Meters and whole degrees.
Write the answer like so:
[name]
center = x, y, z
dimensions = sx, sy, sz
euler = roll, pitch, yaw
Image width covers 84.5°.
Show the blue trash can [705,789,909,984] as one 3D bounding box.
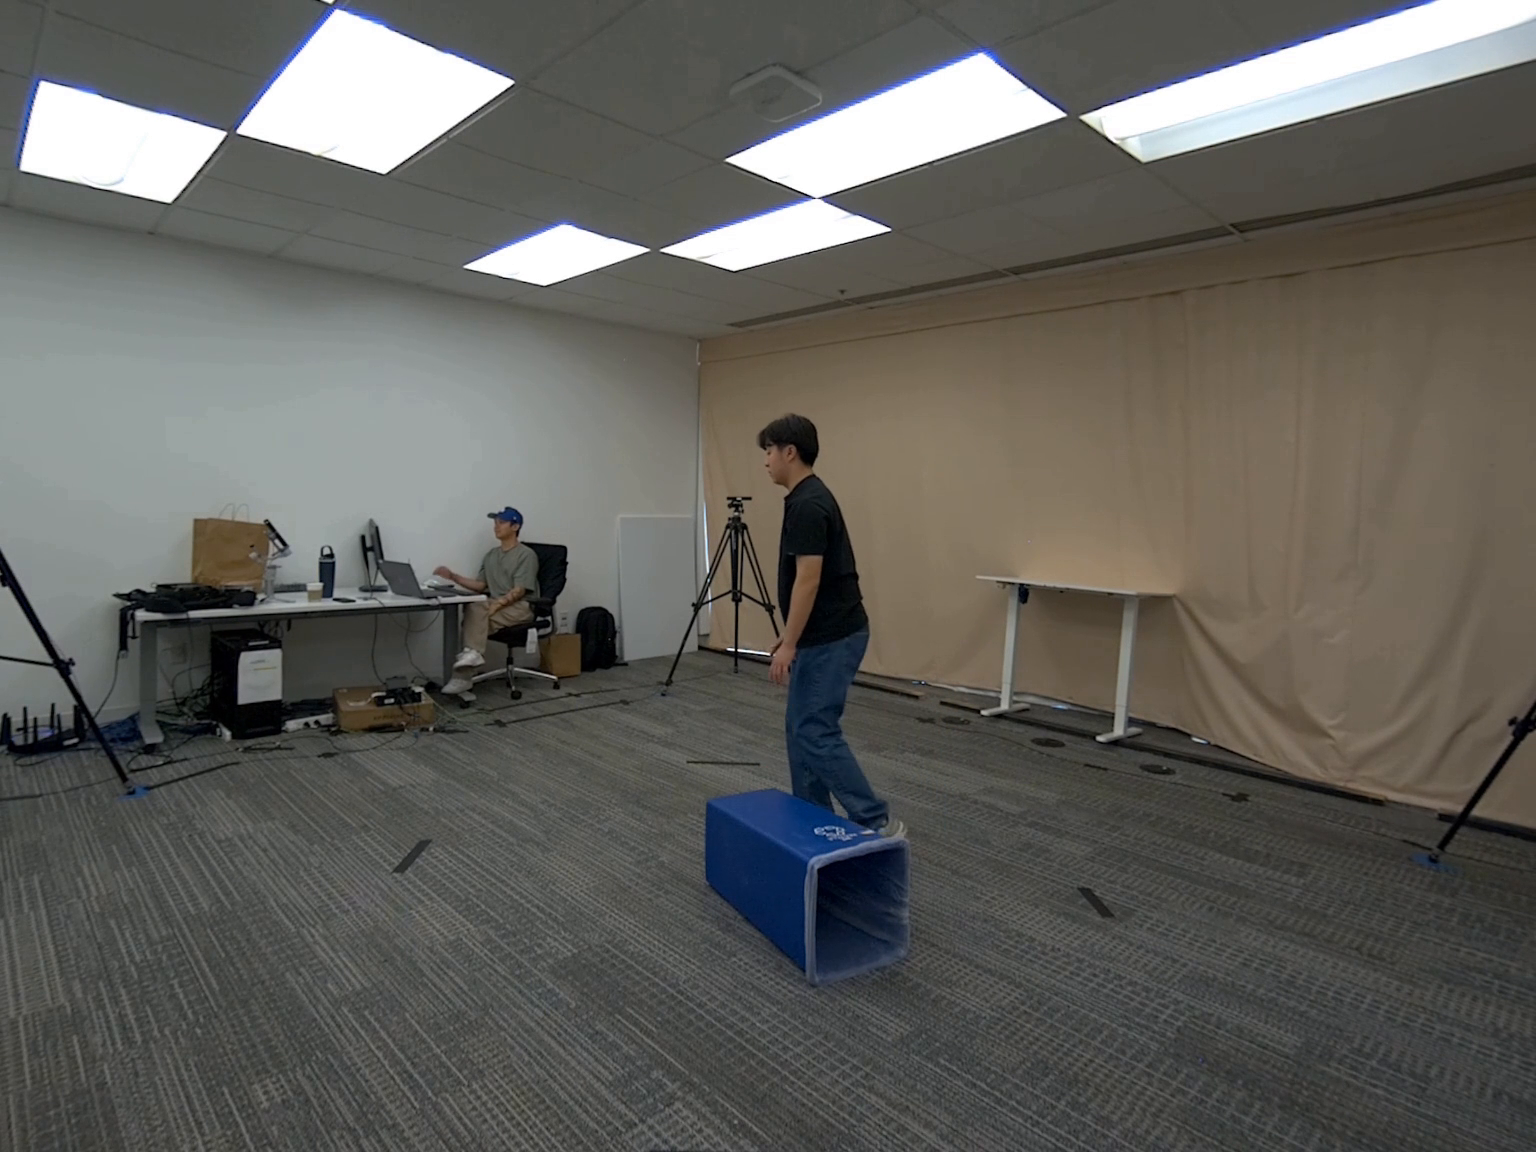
[blue trash can]
center = 0.082, 0.977, 2.784
dimensions = 0.366, 0.377, 0.729
euler = -1, 3, -31
